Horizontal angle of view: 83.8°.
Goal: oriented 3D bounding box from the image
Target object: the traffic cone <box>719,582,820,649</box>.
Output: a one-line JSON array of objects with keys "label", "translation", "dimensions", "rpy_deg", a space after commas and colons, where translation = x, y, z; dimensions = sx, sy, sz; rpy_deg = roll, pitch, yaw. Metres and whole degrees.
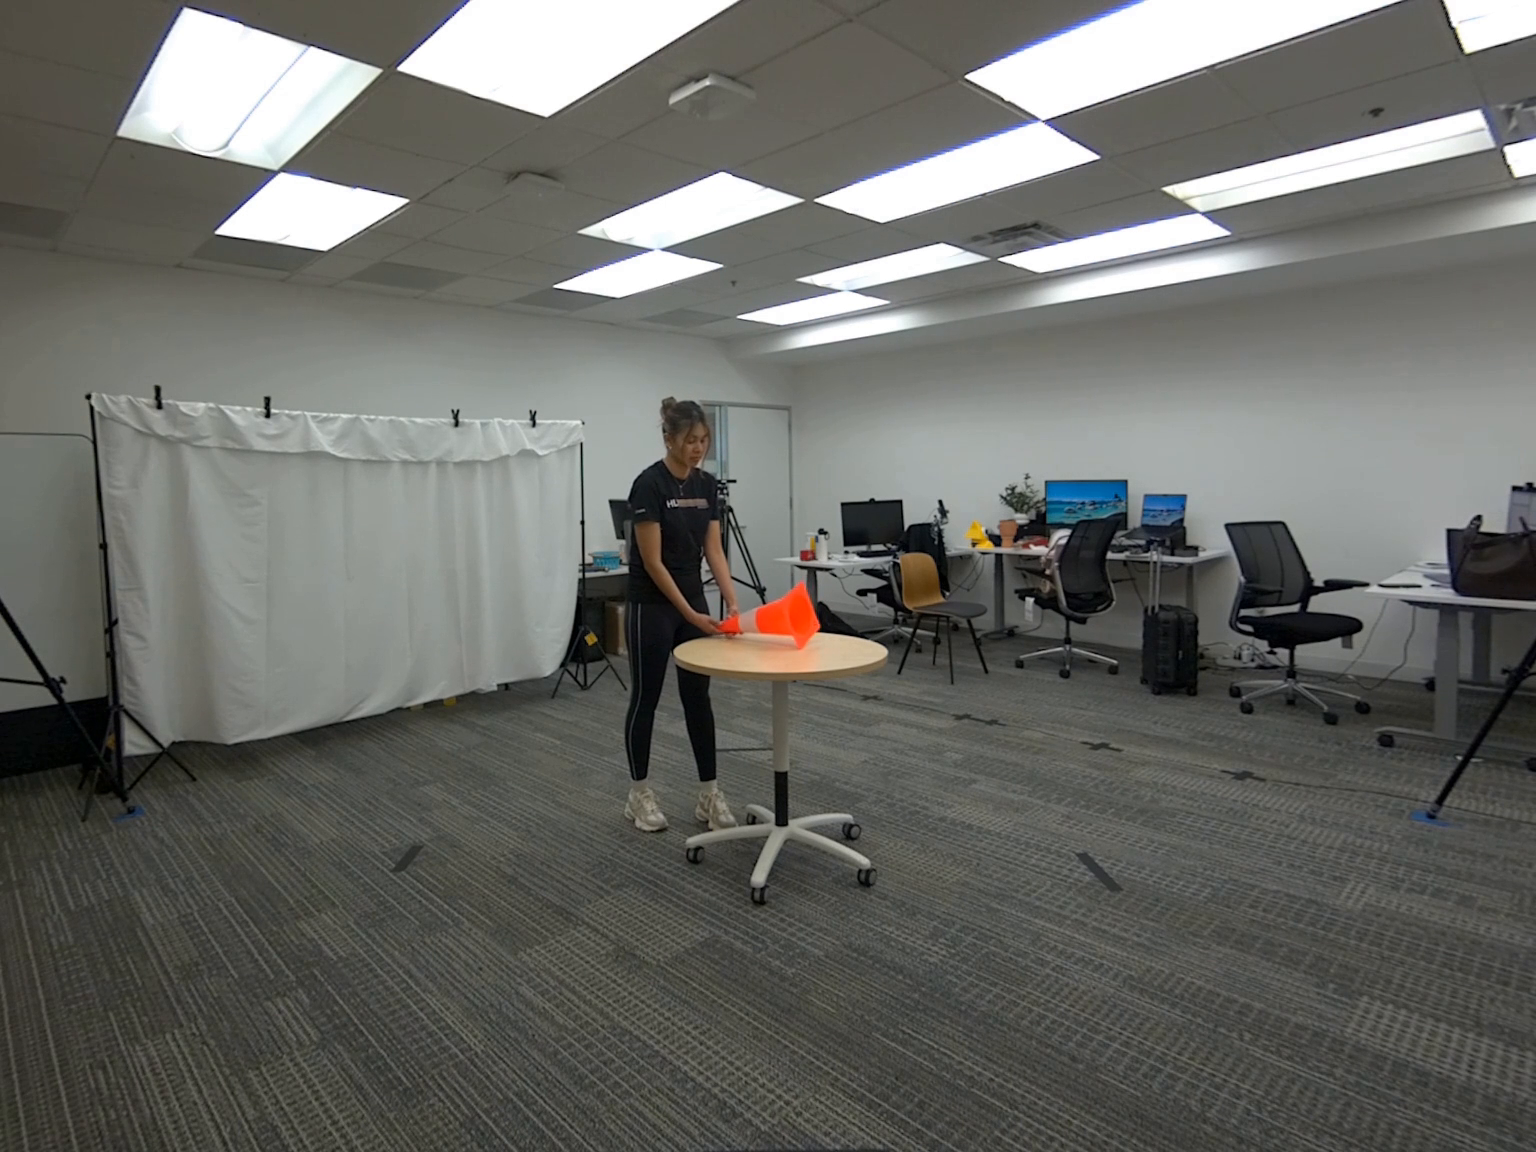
[{"label": "traffic cone", "translation": [-0.037, 0.174, 3.228], "dimensions": [0.391, 0.200, 0.204], "rpy_deg": [-12, 15, 32]}]
